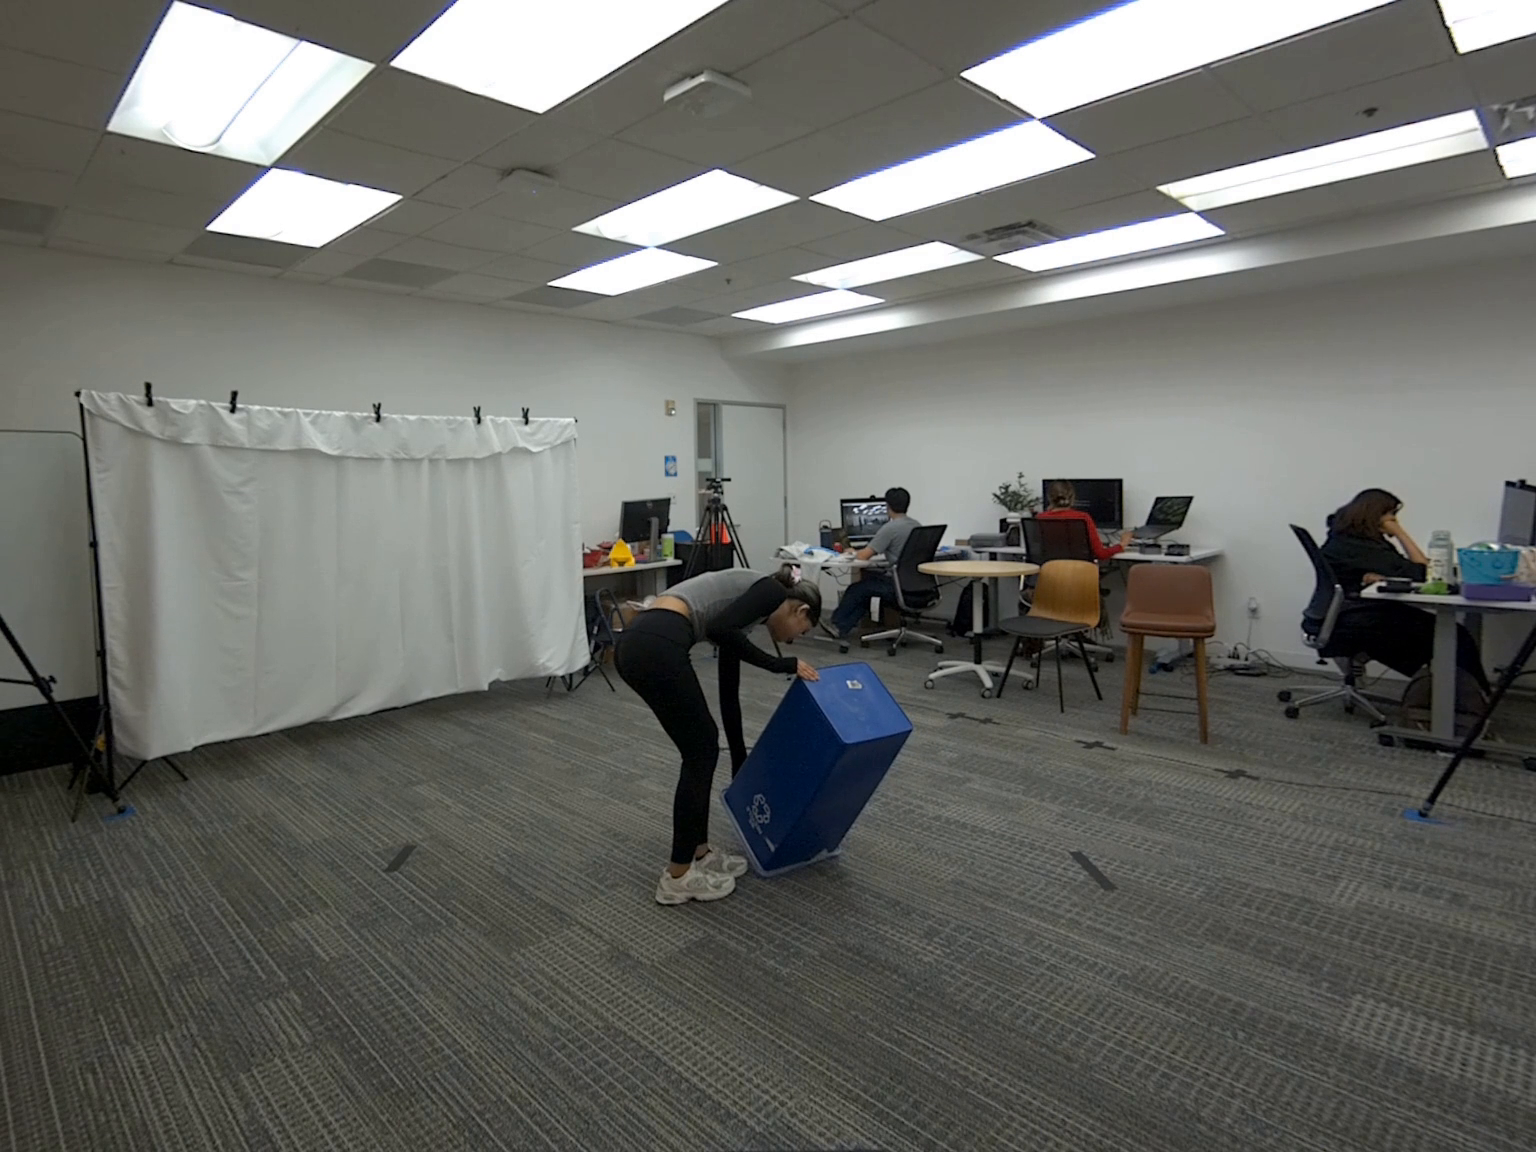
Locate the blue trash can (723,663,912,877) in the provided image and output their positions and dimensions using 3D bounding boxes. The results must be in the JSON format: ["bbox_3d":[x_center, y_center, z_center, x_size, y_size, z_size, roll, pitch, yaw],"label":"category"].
[{"bbox_3d":[0.169,0.664,2.988,0.368,0.705,0.388,-3,43,-34],"label":"blue trash can"}]
